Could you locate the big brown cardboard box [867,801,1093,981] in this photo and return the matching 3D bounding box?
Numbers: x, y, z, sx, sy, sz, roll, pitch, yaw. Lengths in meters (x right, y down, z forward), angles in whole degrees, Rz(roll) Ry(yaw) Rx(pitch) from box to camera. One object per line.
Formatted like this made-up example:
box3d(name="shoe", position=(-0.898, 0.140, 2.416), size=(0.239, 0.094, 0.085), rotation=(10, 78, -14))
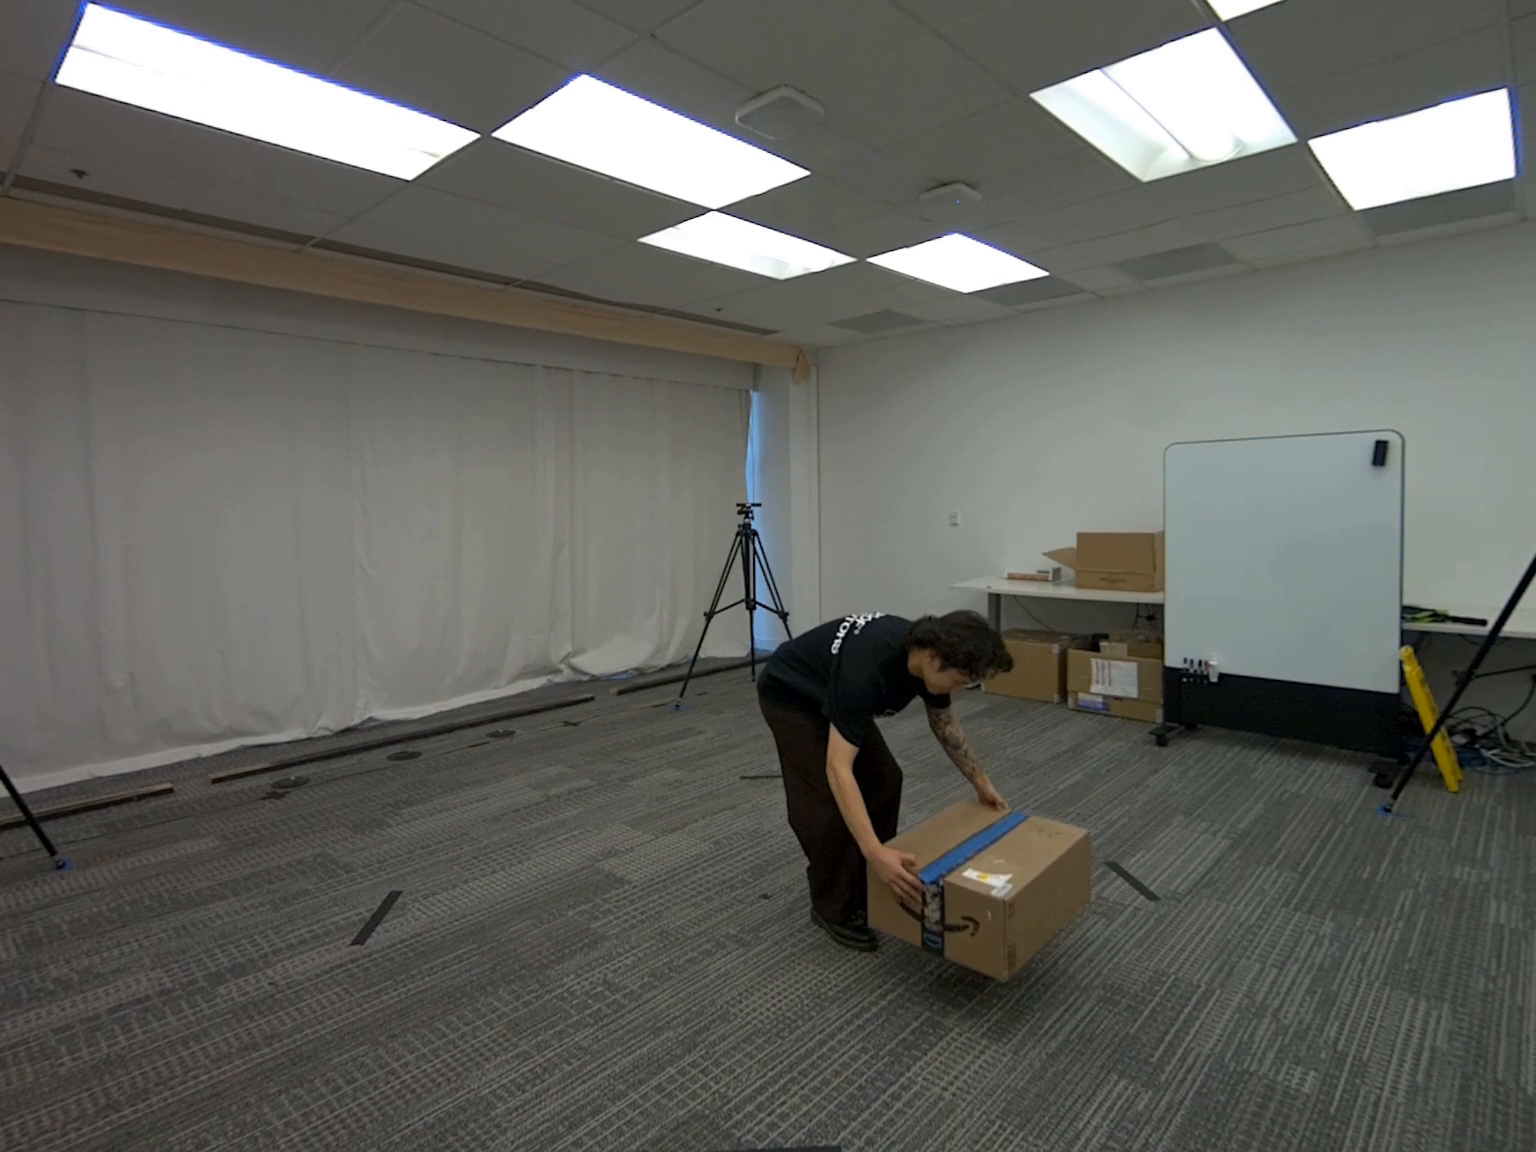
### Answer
box3d(name="big brown cardboard box", position=(0.616, 0.866, 2.441), size=(0.431, 0.232, 0.571), rotation=(2, 6, 42))
